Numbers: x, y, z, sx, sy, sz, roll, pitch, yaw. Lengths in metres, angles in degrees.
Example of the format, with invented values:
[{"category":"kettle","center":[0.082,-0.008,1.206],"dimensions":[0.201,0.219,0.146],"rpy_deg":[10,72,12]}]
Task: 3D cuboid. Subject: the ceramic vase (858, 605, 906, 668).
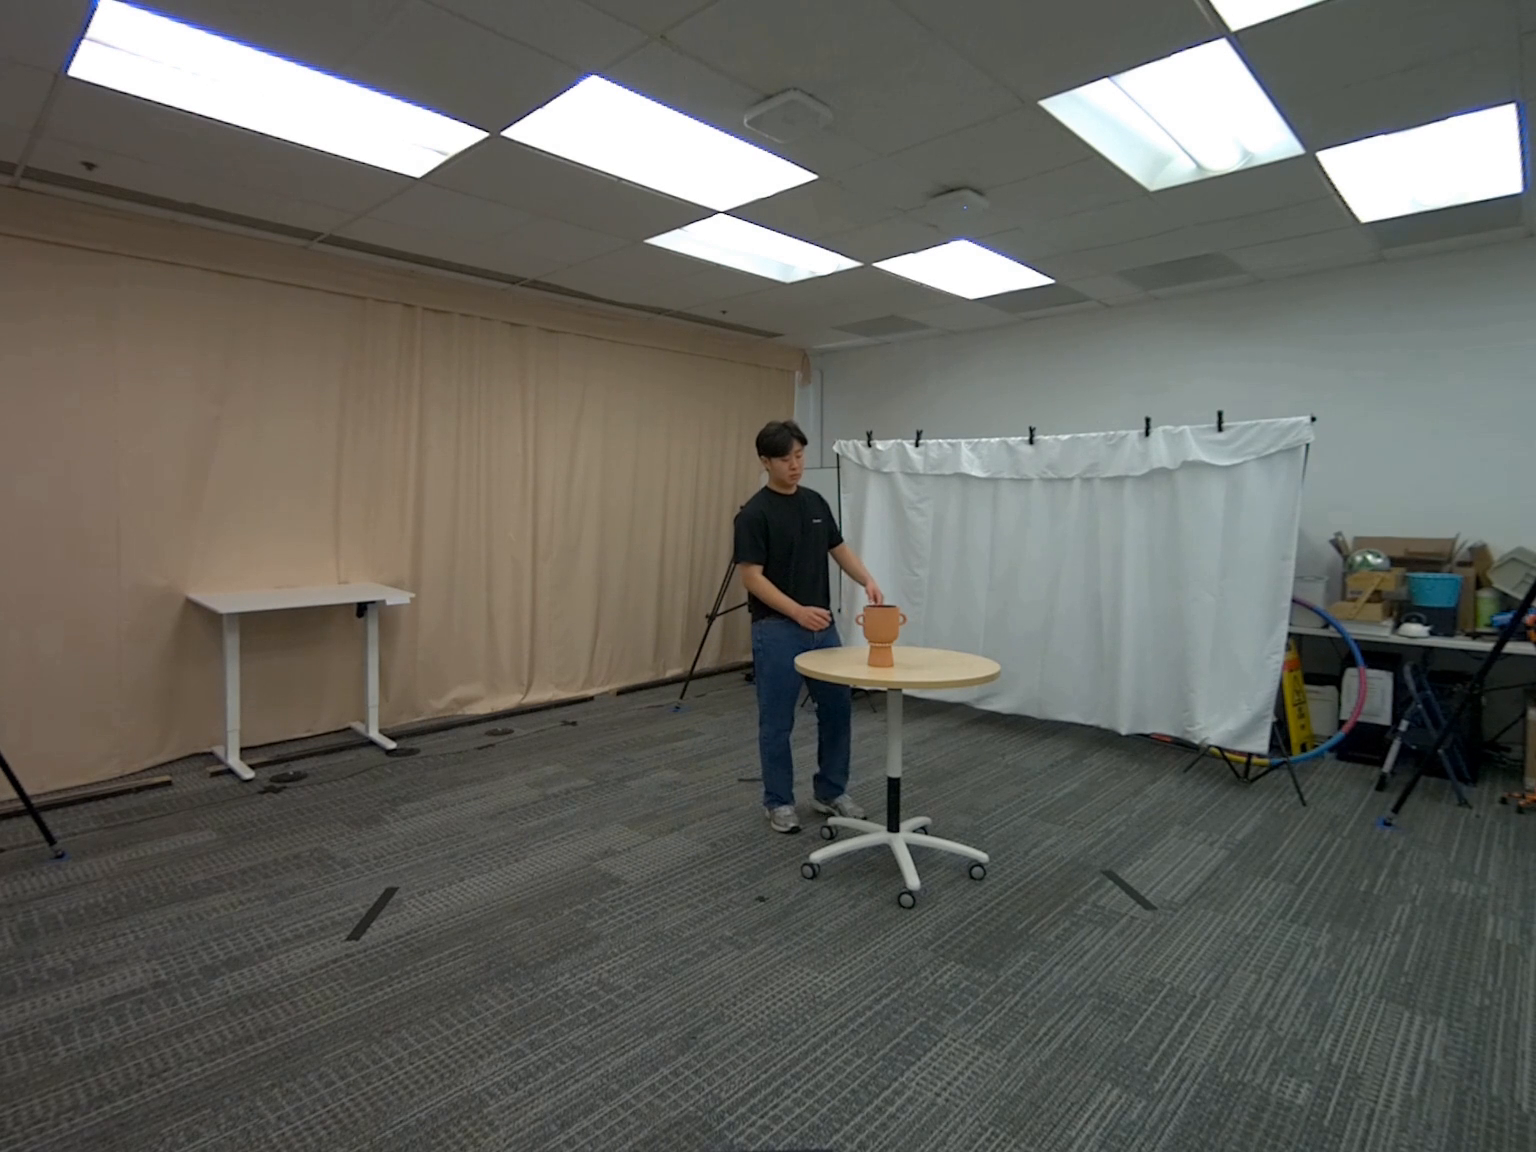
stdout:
[{"category":"ceramic vase","center":[0.429,0.223,3.134],"dimensions":[0.163,0.219,0.131],"rpy_deg":[2,3,26]}]
